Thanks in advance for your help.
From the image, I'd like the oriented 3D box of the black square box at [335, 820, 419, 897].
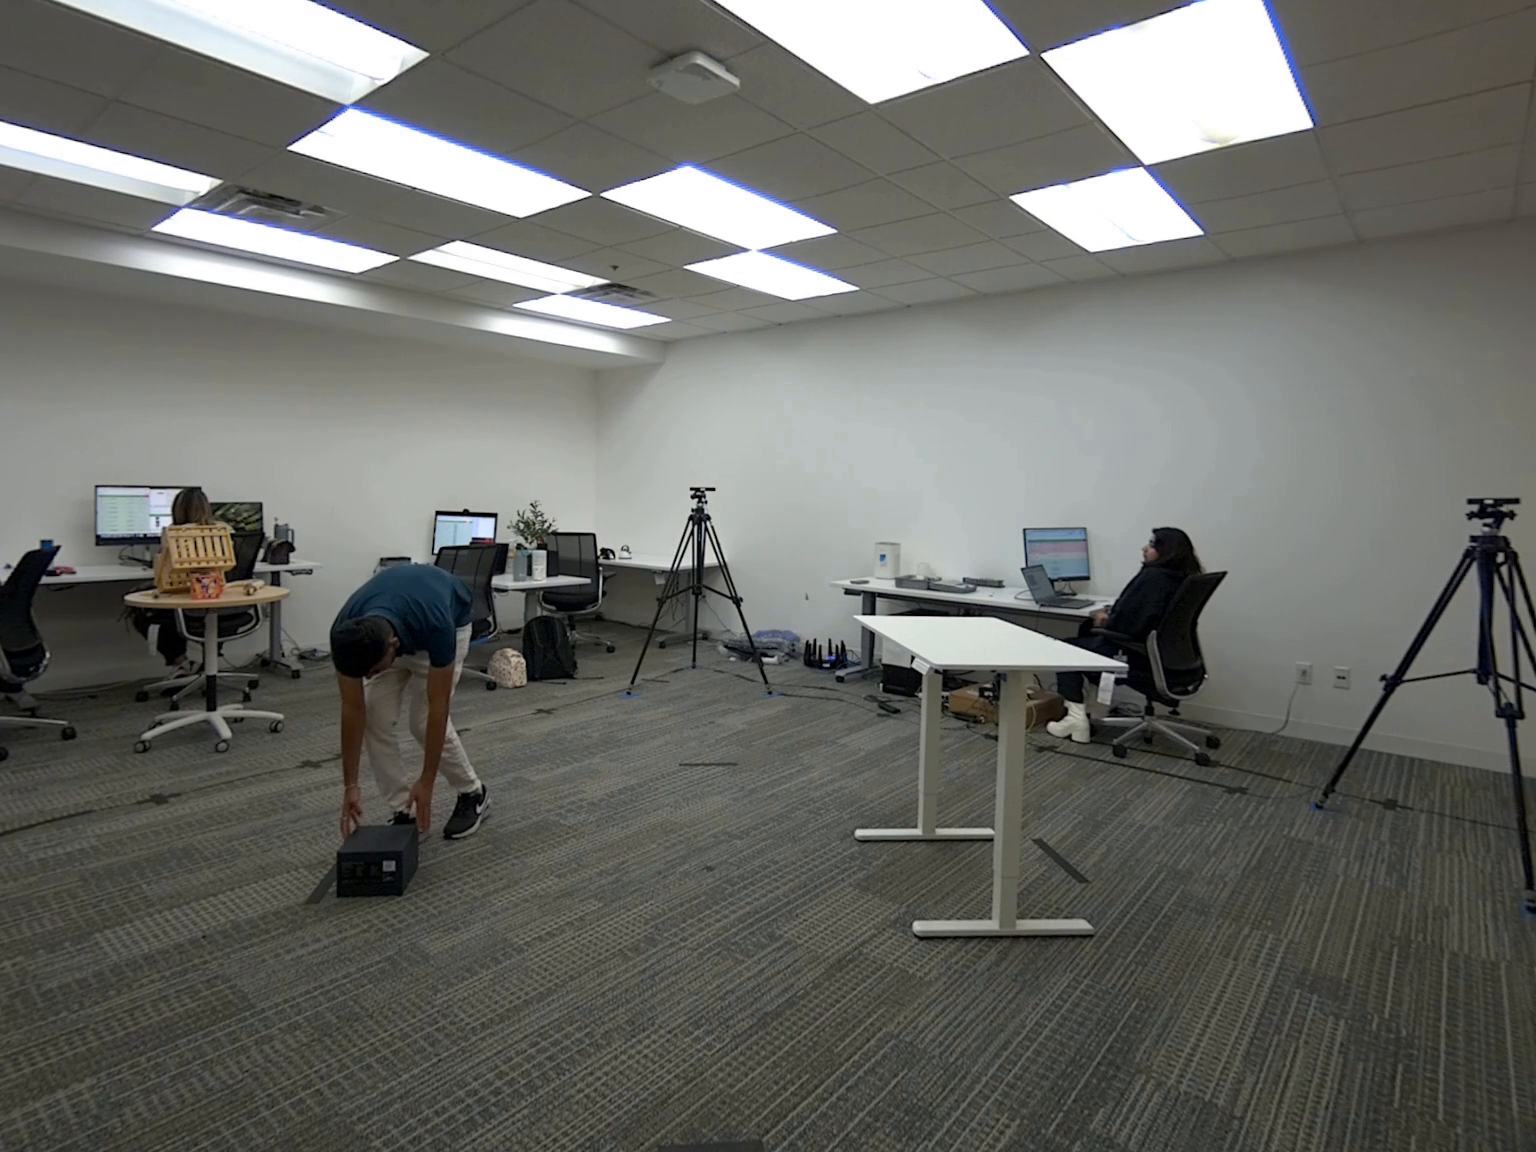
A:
[{"bbox_3d":[-1.365,0.980,2.958,0.215,0.155,0.231,0,4,-8],"label":"black square box"}]
